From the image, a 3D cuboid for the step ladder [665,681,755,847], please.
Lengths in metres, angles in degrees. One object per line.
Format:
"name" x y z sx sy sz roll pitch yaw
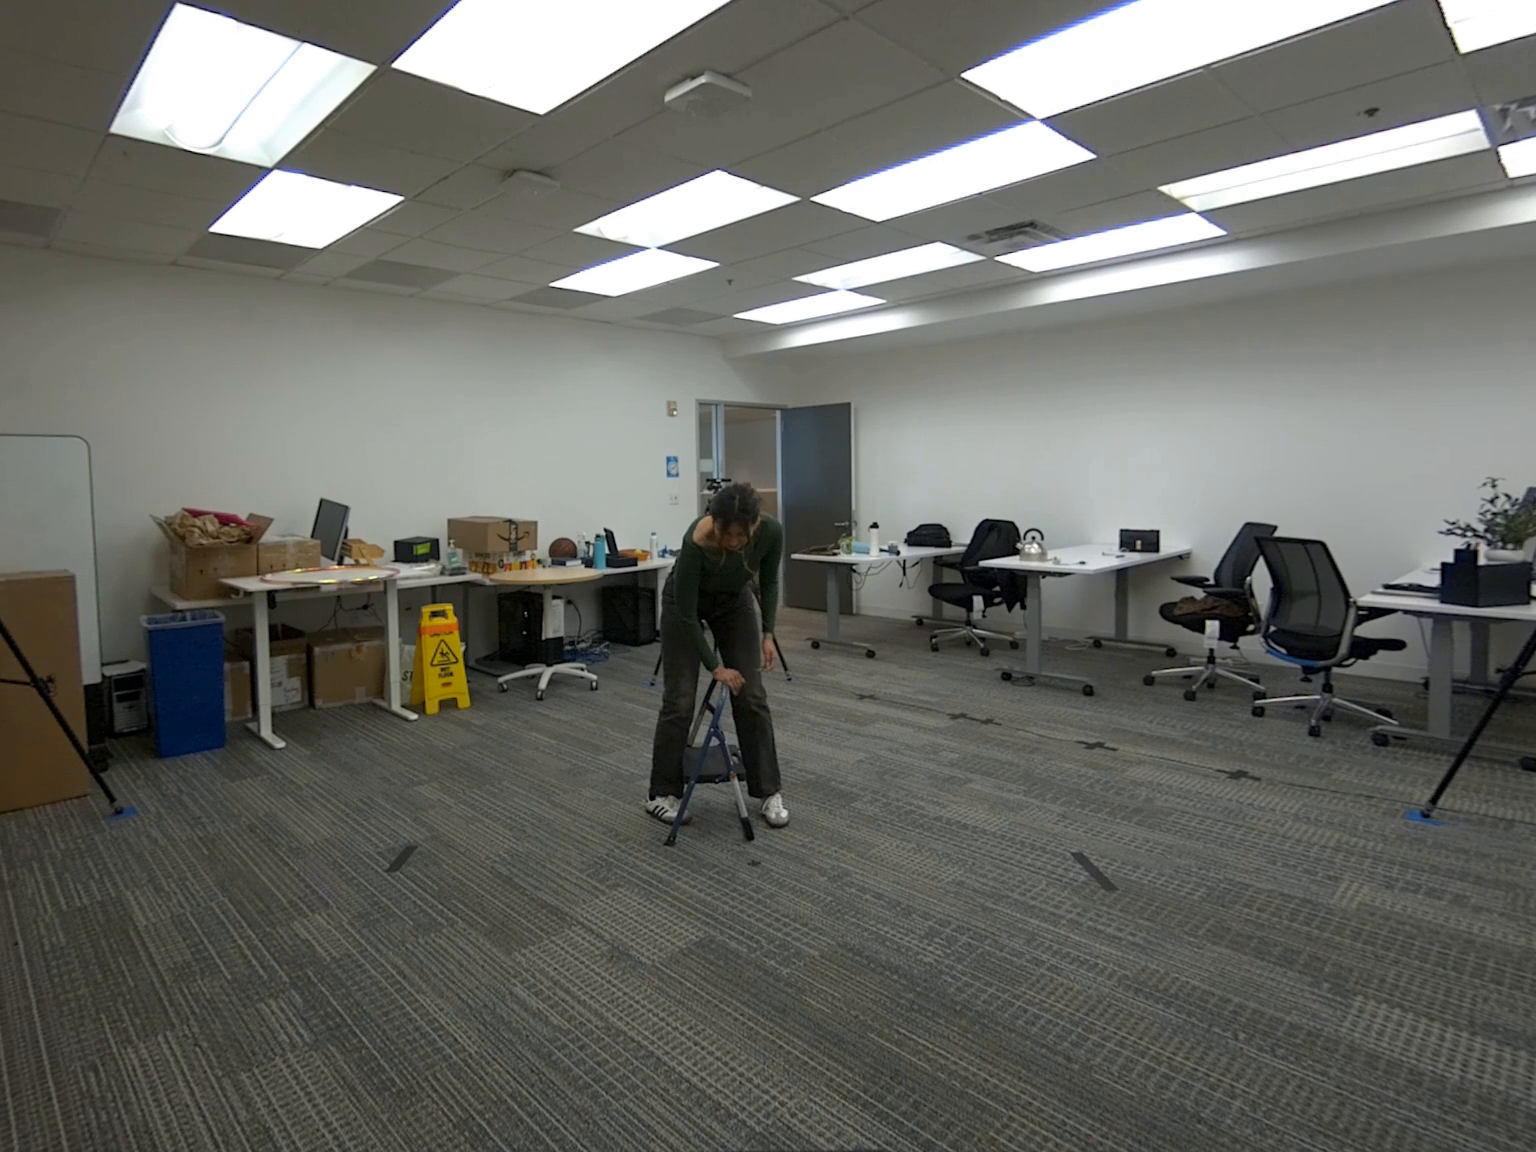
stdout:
"step ladder" -0.248 0.708 3.463 0.347 0.604 0.435 0 4 -7
